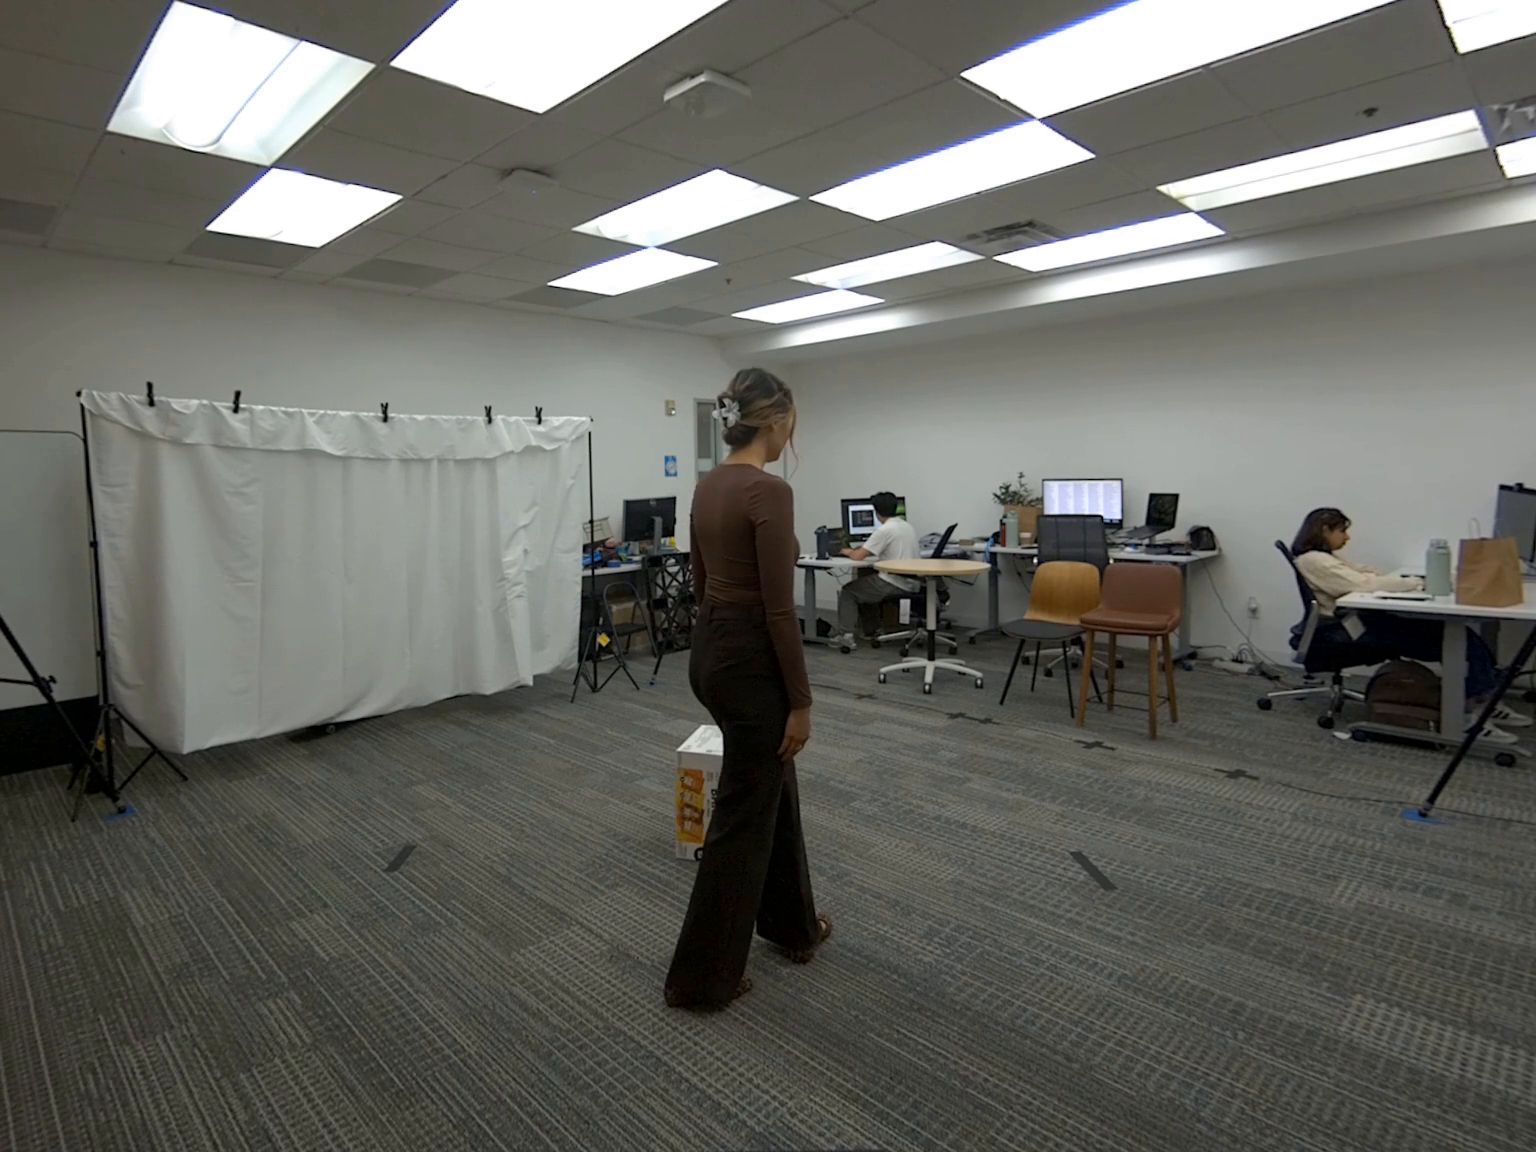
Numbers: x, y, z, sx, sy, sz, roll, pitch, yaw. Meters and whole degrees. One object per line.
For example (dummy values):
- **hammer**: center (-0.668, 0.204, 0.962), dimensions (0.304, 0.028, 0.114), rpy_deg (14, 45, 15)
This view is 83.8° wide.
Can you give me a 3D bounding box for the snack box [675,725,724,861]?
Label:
- **snack box**: center (-0.203, 0.821, 3.270), dimensions (0.209, 0.403, 0.337), rpy_deg (1, 5, 14)
